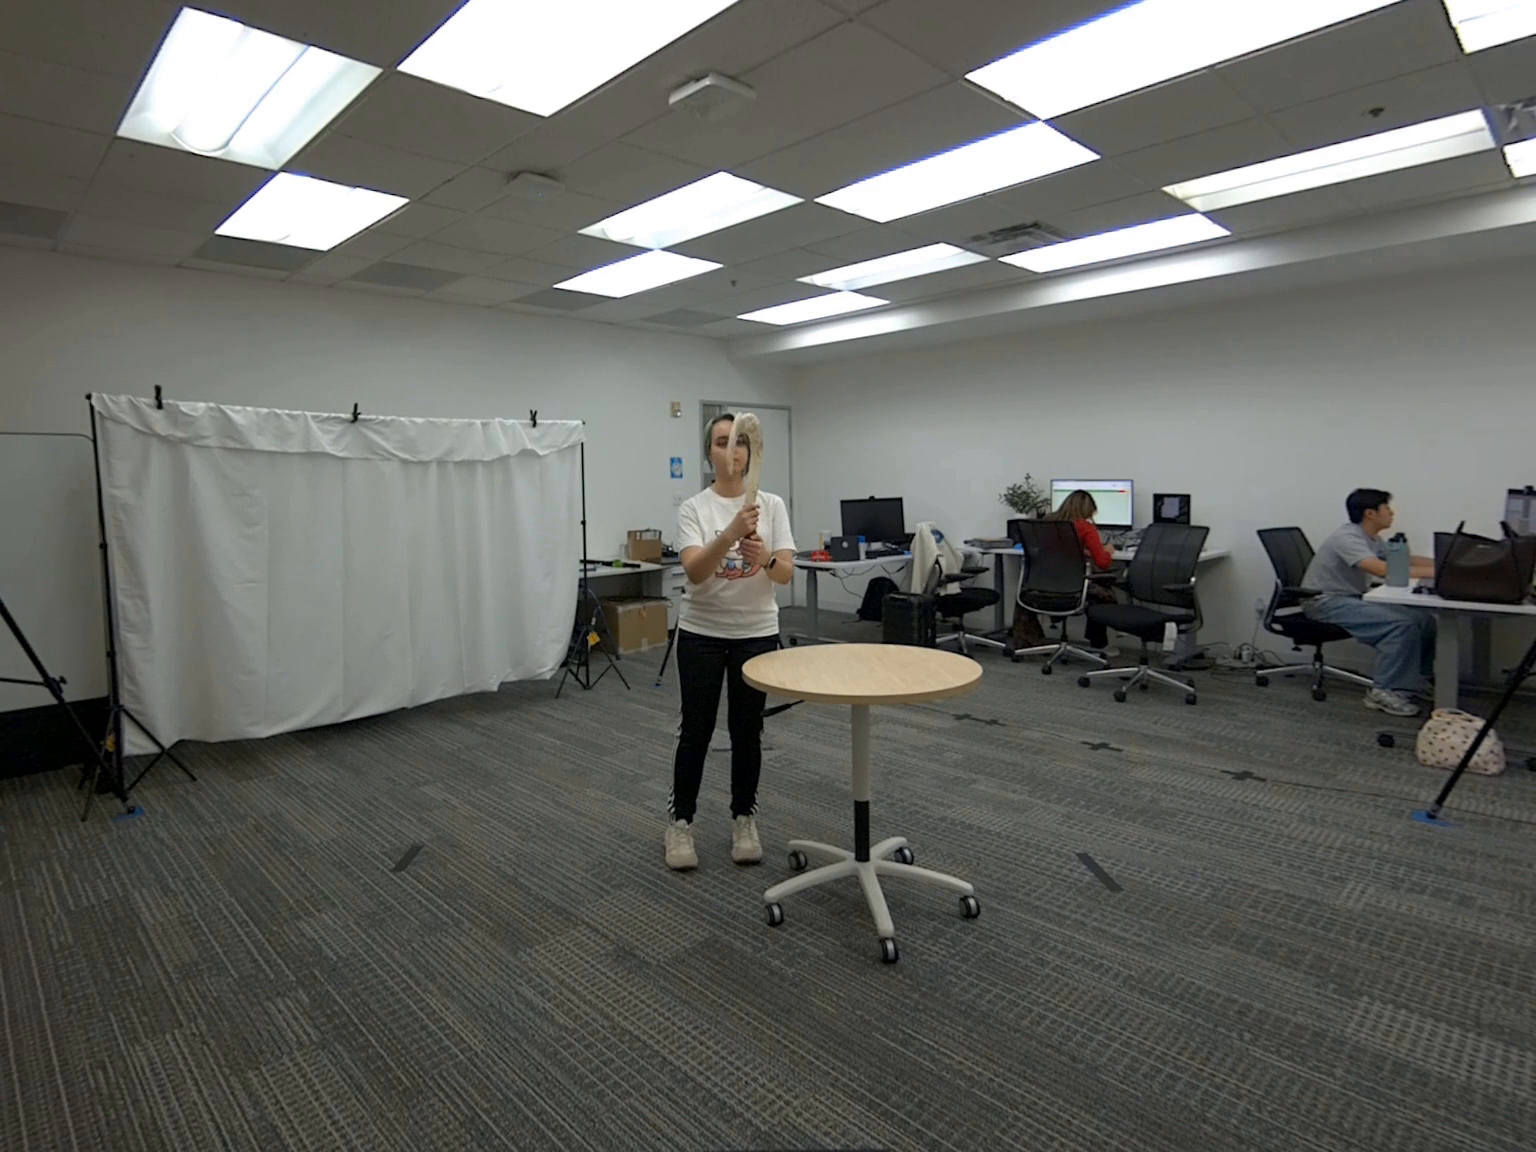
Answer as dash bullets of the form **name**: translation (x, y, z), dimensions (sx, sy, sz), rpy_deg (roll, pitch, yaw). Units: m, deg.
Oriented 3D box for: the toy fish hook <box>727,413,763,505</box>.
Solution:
- **toy fish hook**: translation (-0.102, -0.281, 2.830), dimensions (0.050, 0.503, 0.220), rpy_deg (8, 10, 31)
